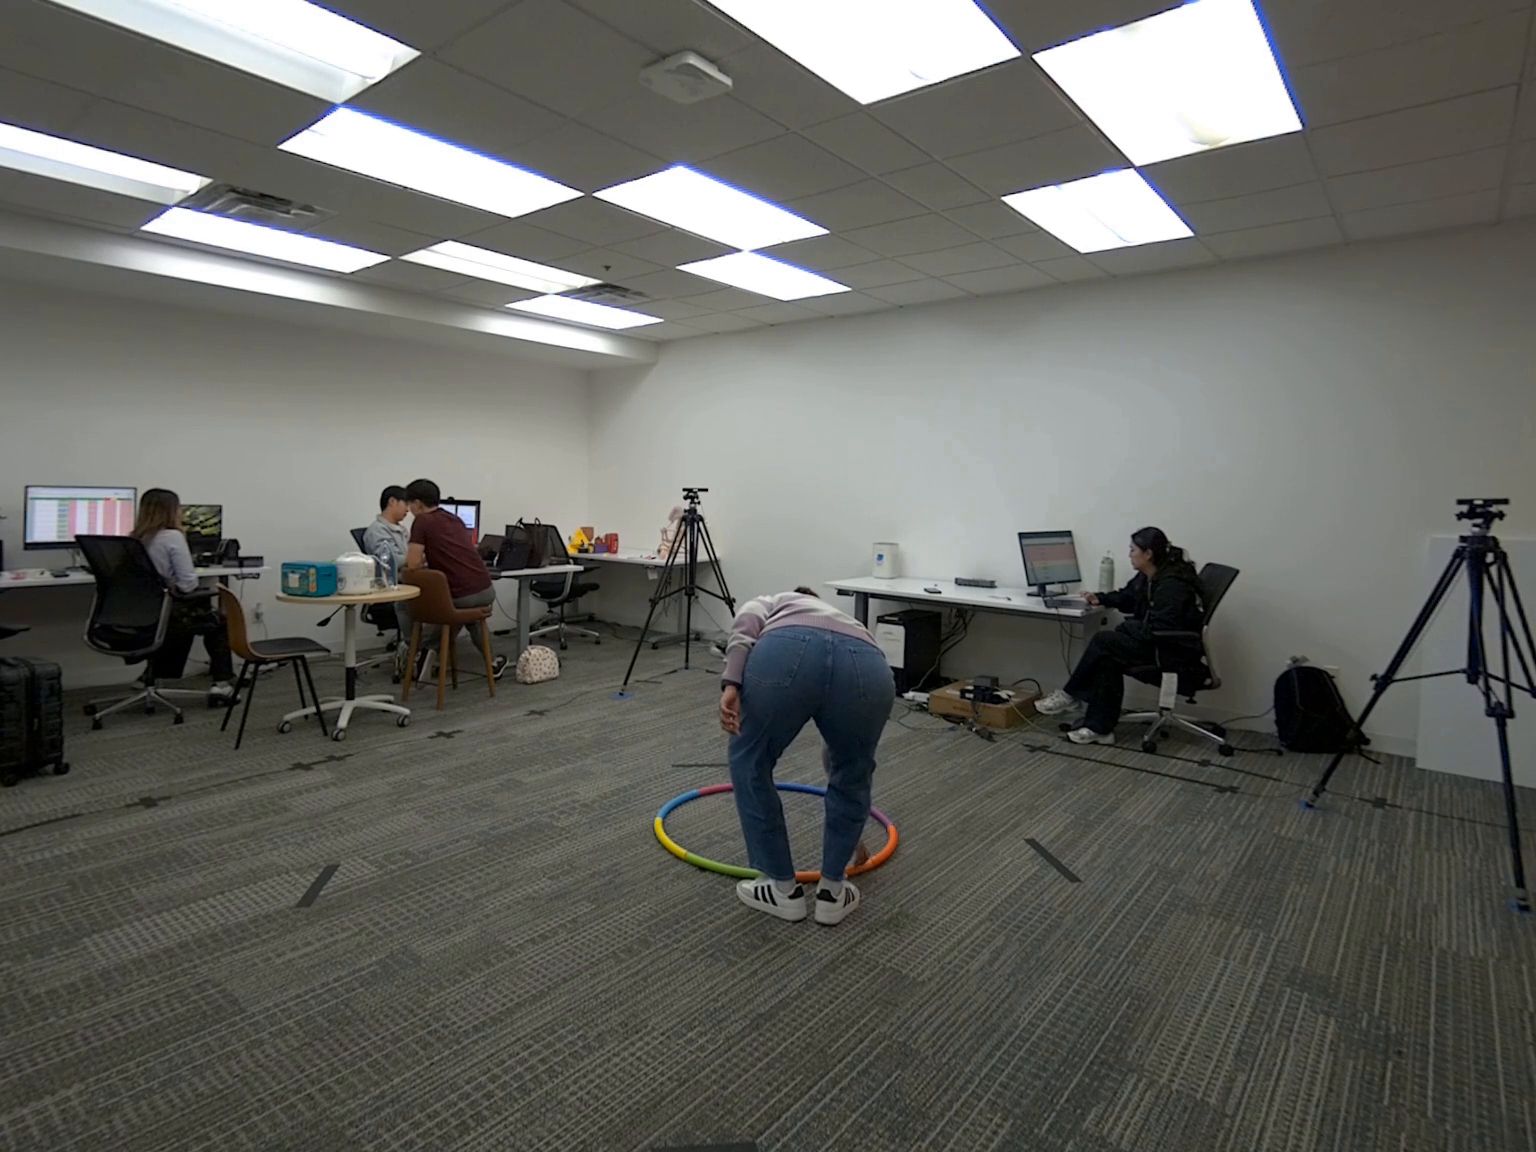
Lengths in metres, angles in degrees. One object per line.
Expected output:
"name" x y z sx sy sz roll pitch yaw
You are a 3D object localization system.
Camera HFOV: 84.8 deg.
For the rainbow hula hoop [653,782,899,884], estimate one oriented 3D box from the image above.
"rainbow hula hoop" 0.015 1.006 3.485 0.978 0.035 0.984 1 6 -2
